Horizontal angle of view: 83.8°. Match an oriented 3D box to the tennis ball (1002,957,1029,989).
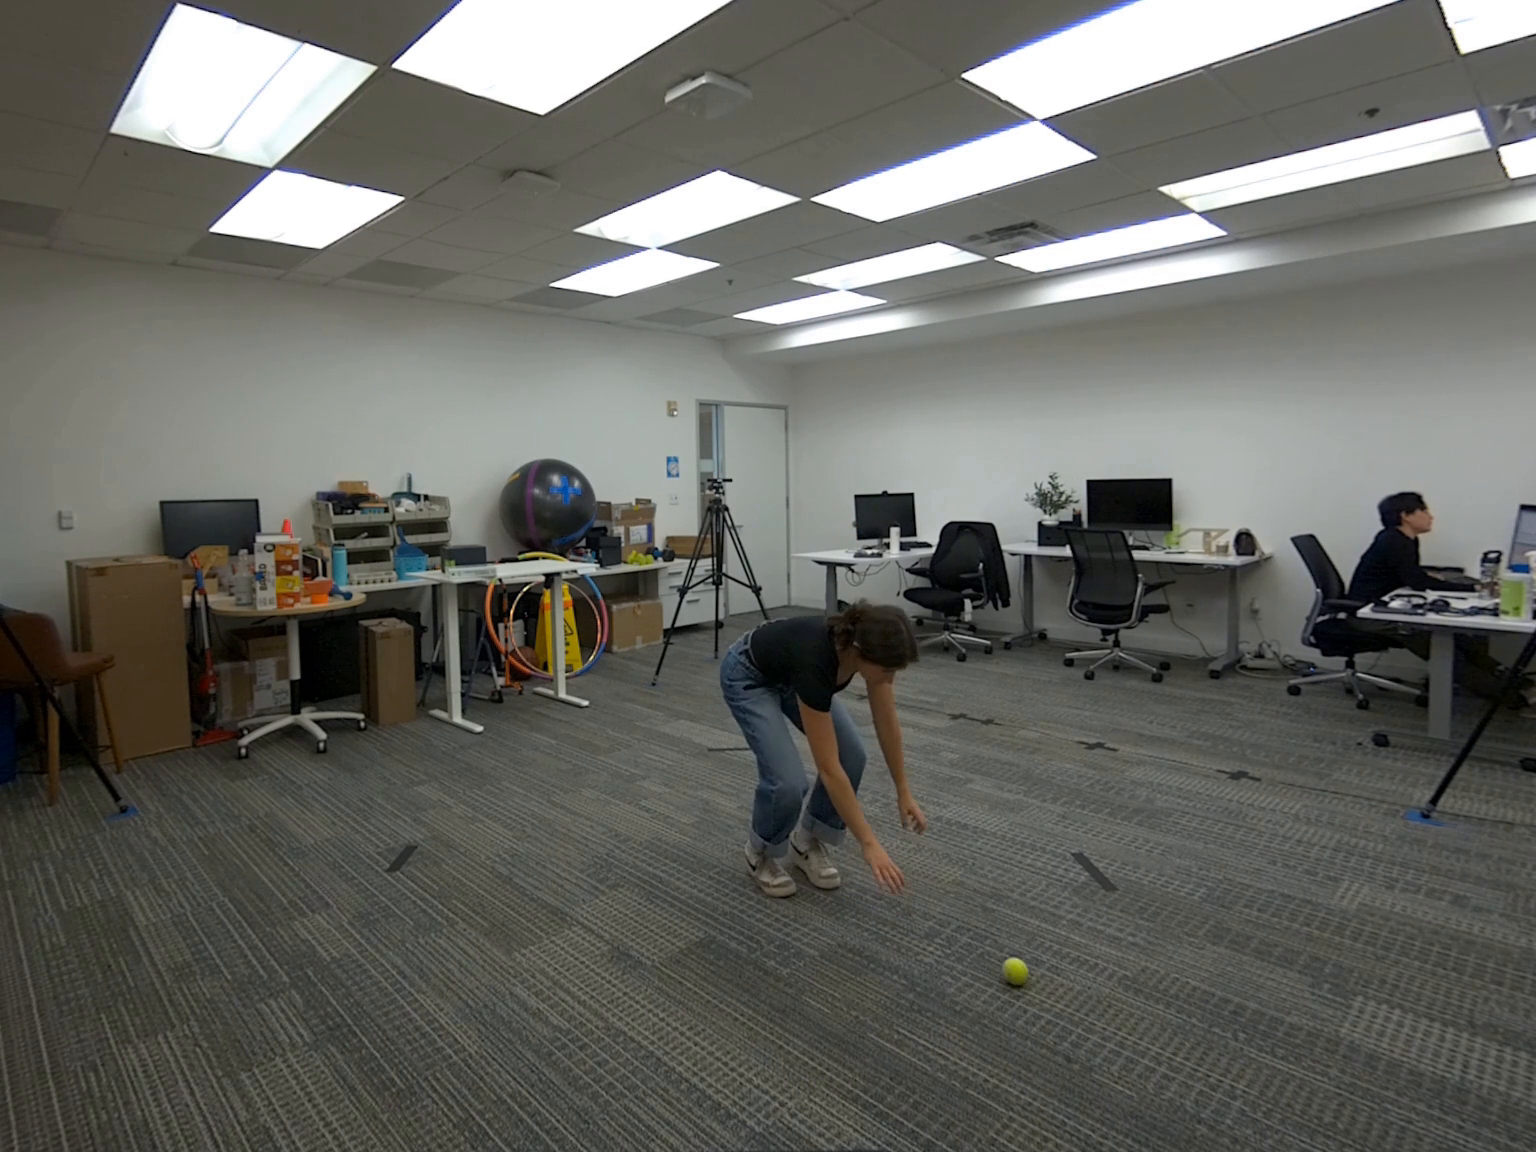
[{"bbox_3d":[0.667,1.079,2.349,0.066,0.066,0.067,-1,5,-2],"label":"tennis ball"}]
